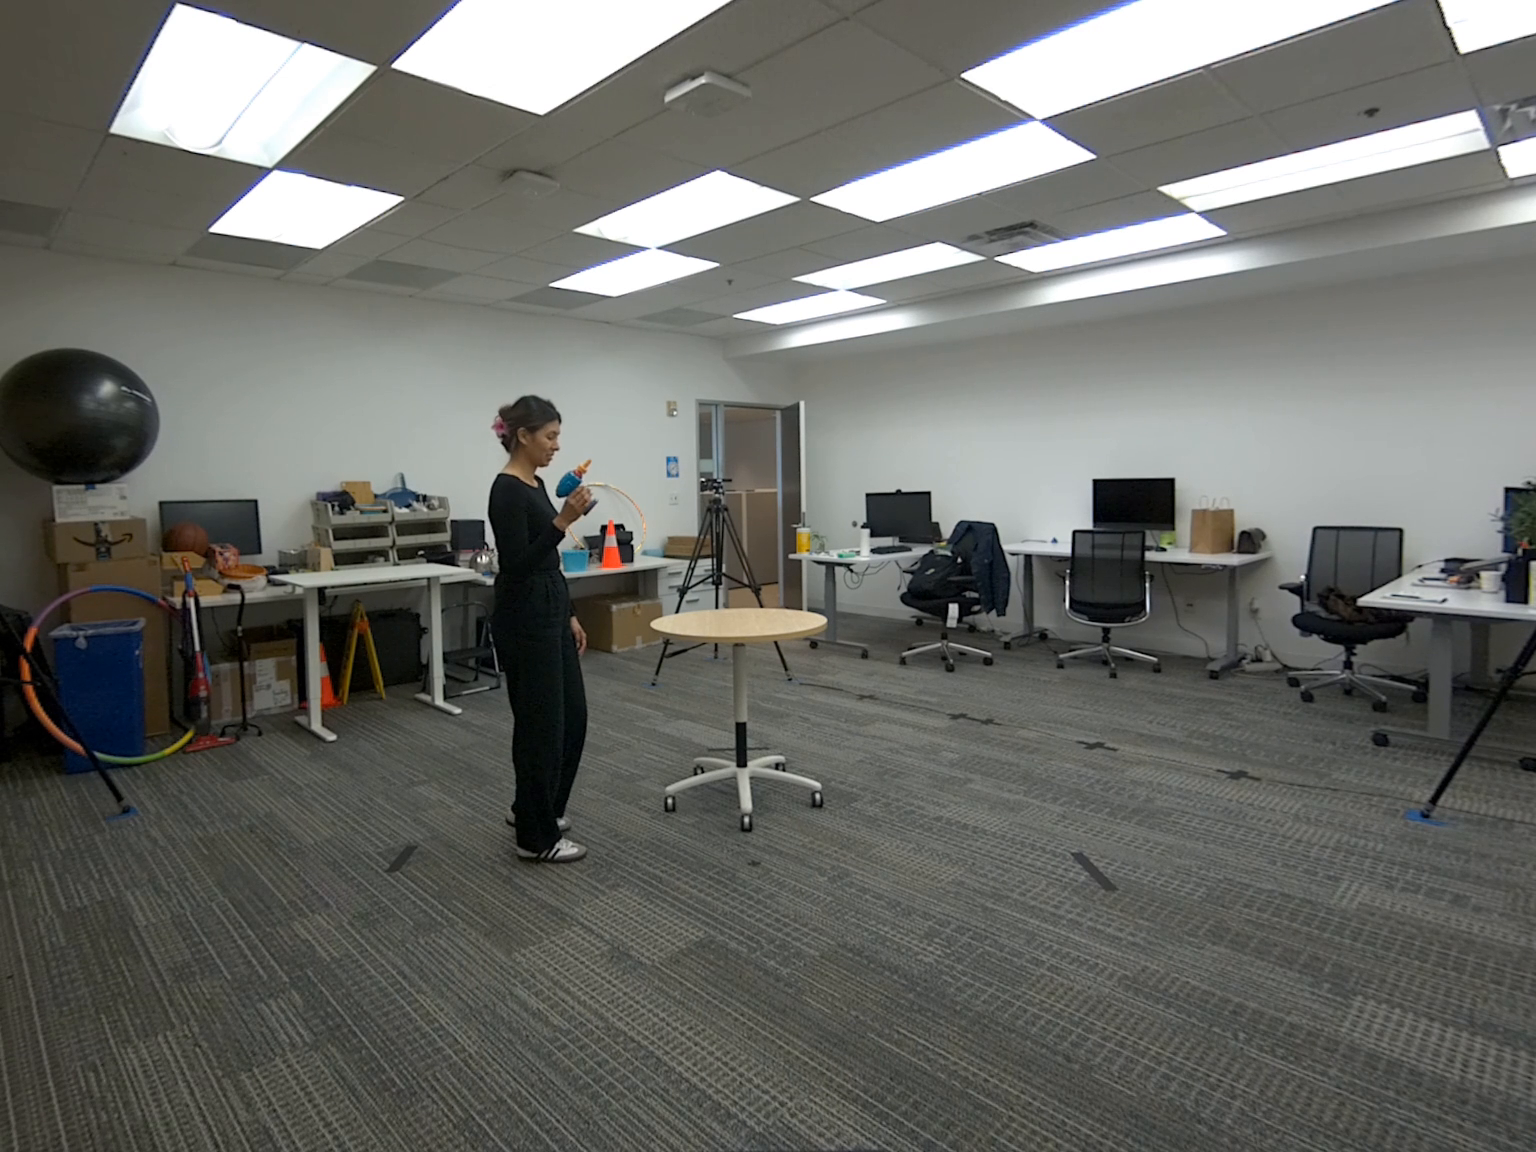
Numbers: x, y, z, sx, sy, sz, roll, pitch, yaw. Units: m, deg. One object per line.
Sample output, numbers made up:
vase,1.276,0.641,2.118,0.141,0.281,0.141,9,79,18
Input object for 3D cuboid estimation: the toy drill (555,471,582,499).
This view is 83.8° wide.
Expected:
toy drill,-0.626,-0.301,2.901,0.145,0.170,0.061,43,0,-4
